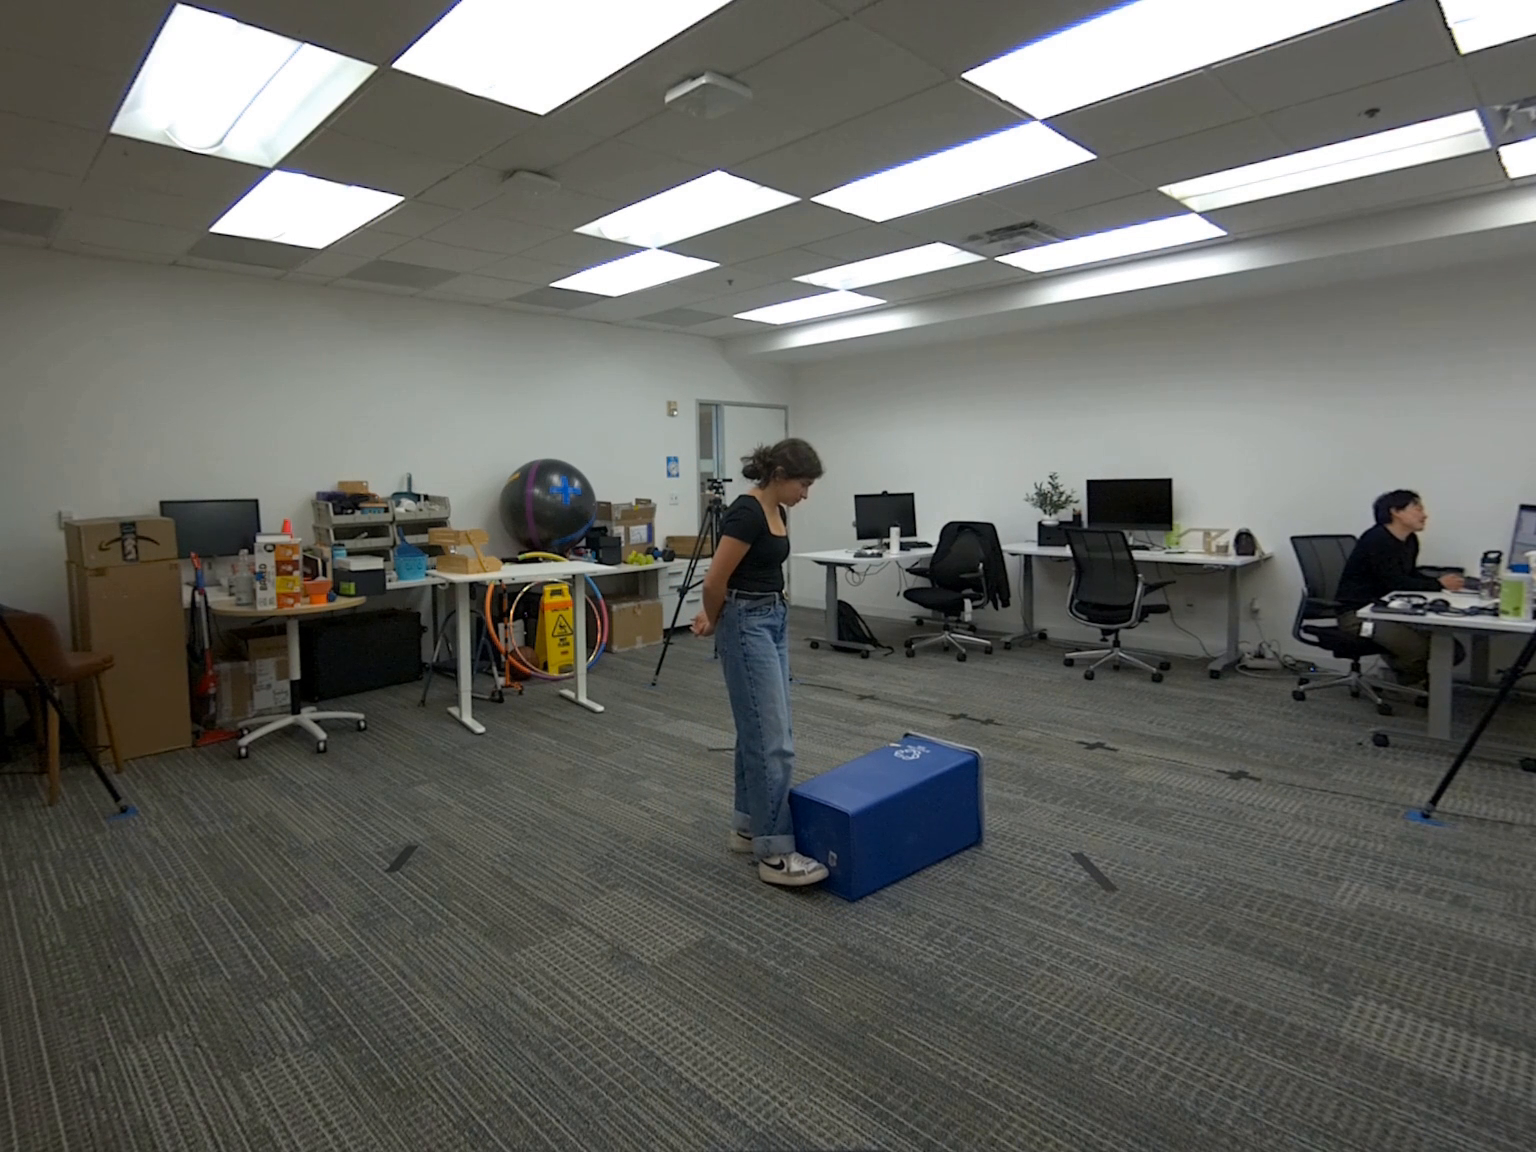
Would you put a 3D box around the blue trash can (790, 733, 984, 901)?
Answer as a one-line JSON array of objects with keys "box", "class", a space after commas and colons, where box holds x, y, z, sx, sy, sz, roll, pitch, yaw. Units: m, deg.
[{"box": [0.437, 0.869, 3.117, 0.696, 0.376, 0.385, -10, 10, -42], "class": "blue trash can"}]
